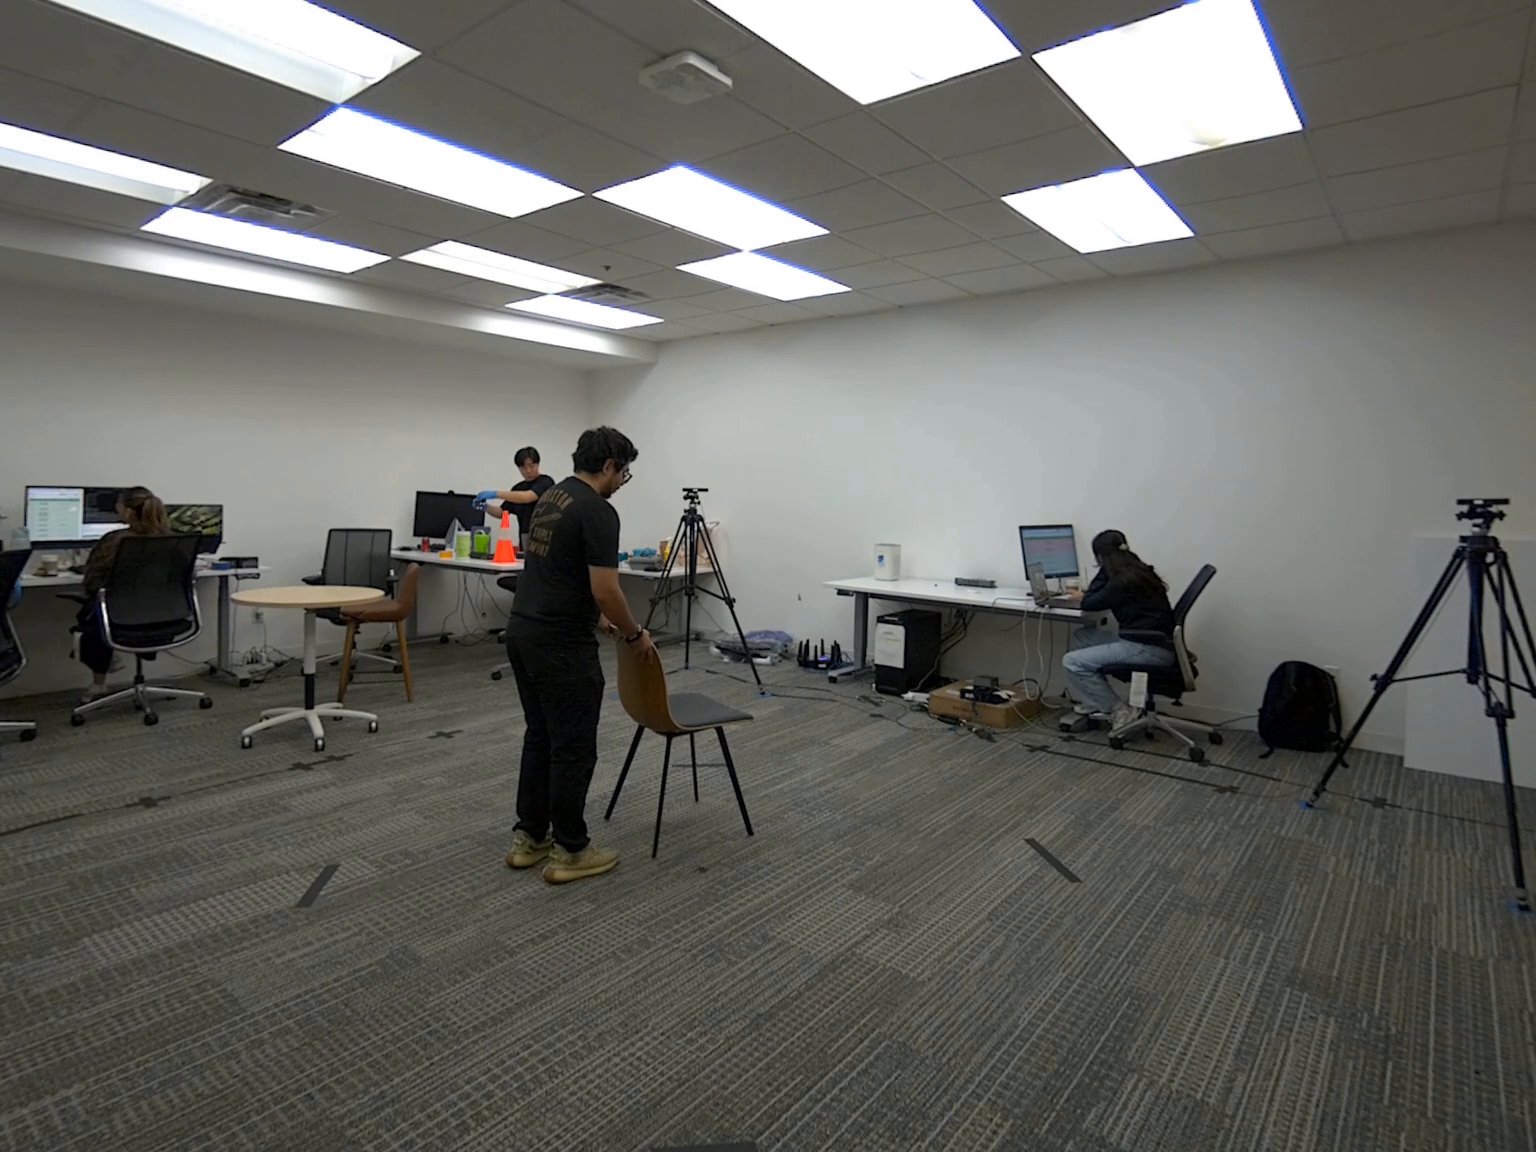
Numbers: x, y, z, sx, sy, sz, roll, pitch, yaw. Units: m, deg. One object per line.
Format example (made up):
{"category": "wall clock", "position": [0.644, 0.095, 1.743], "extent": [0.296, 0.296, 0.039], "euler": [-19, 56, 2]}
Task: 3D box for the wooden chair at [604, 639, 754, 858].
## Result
{"category": "wooden chair", "position": [-0.369, 0.605, 3.474], "extent": [0.509, 0.873, 0.493], "euler": [-6, 6, -34]}
